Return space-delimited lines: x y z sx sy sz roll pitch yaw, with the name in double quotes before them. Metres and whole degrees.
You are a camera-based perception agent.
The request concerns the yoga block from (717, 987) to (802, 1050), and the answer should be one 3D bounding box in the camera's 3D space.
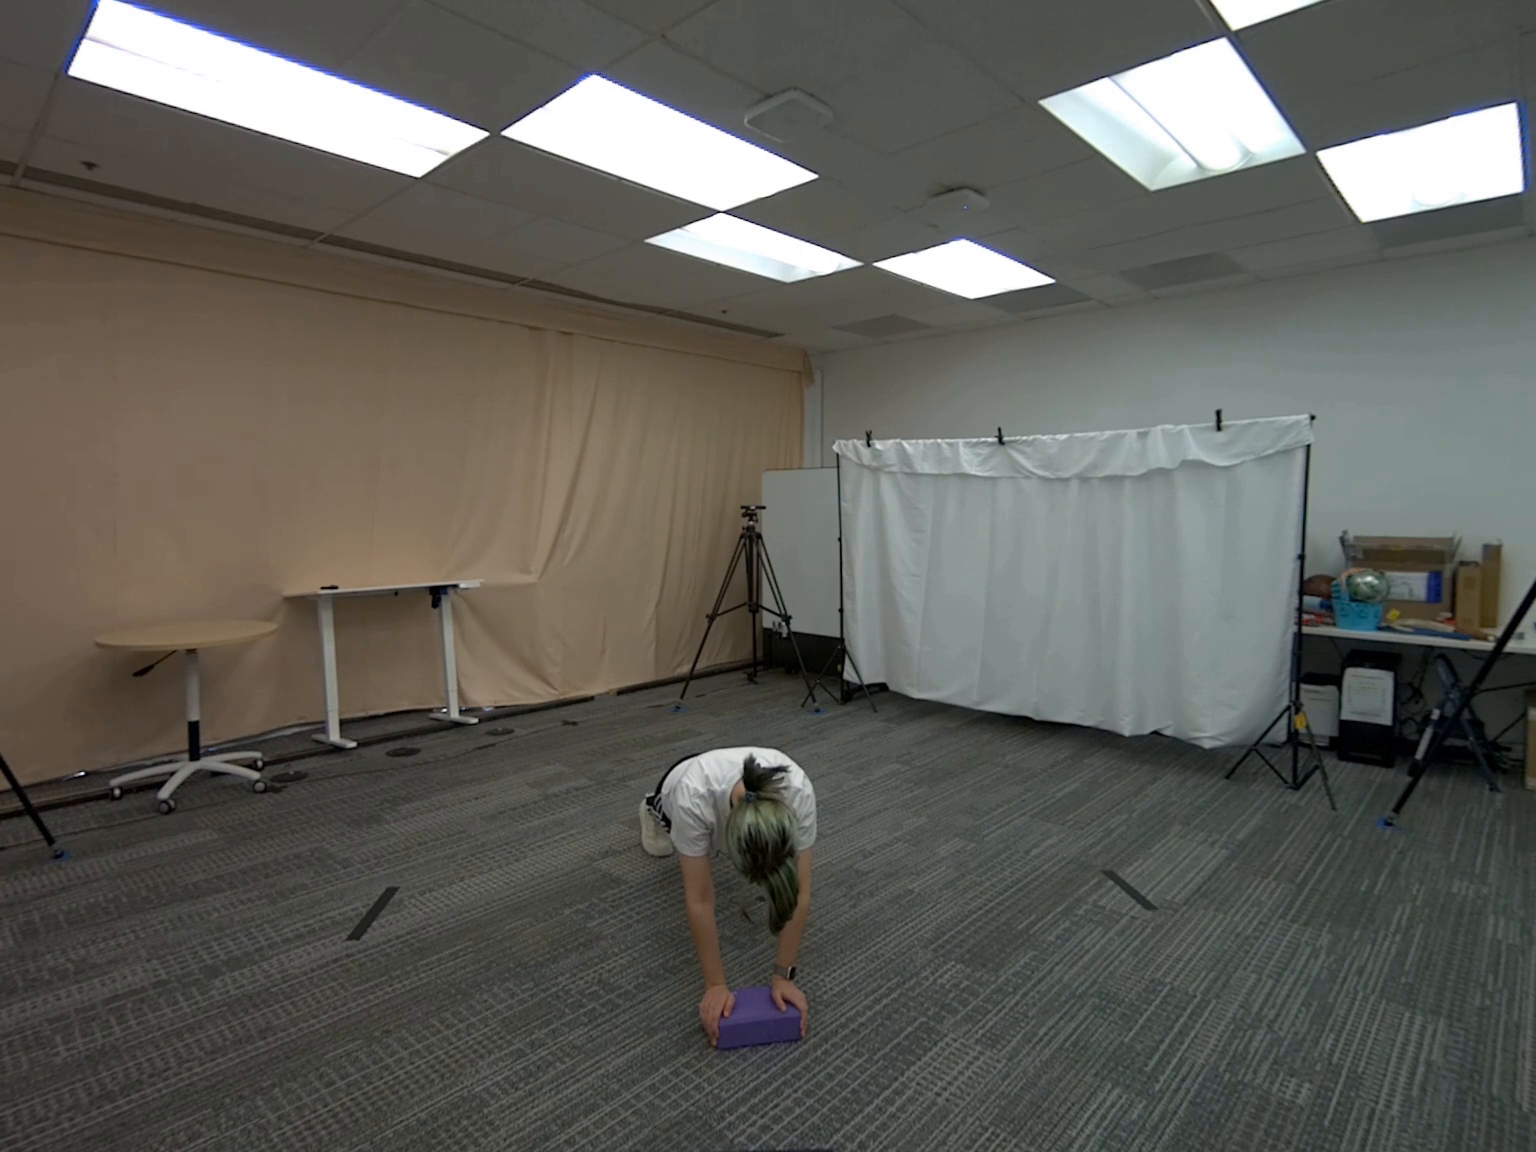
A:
"yoga block" -0.040 1.167 2.243 0.227 0.076 0.151 0 4 -10
